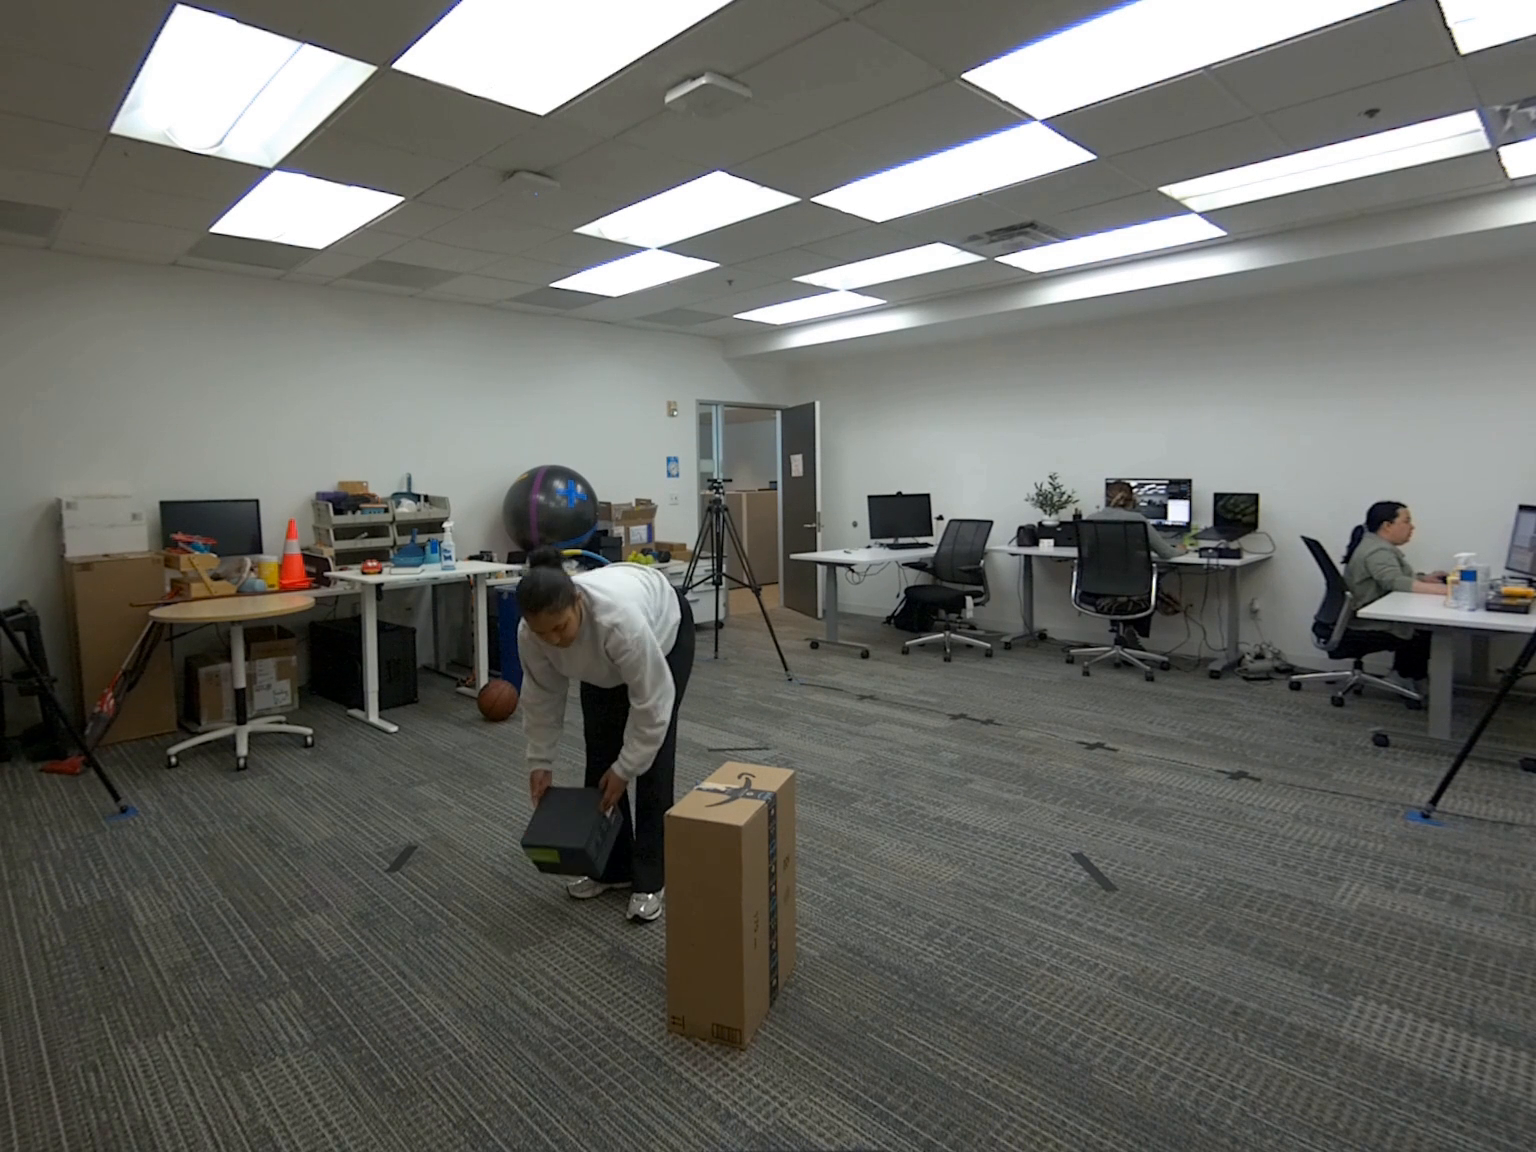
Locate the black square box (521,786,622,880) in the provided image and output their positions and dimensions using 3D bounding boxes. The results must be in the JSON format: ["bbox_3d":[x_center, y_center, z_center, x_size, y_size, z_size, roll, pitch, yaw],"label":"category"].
[{"bbox_3d":[-0.605,0.799,2.664,0.232,0.151,0.220,-4,39,20],"label":"black square box"}]
